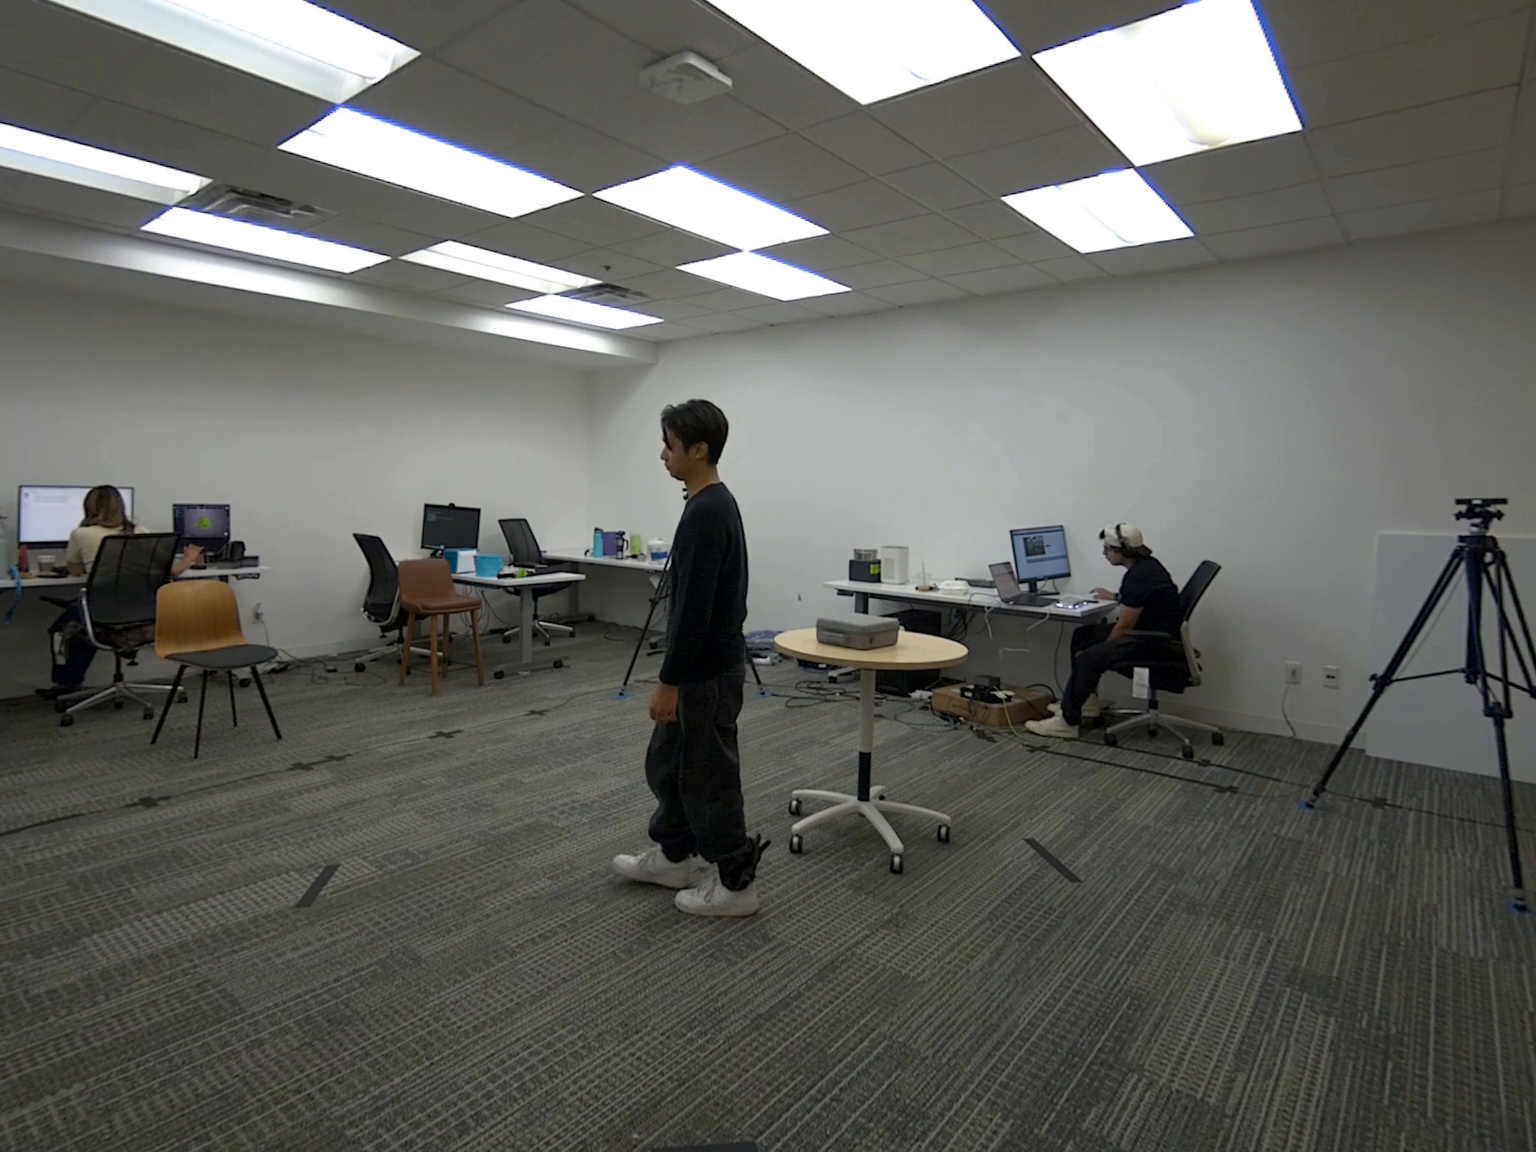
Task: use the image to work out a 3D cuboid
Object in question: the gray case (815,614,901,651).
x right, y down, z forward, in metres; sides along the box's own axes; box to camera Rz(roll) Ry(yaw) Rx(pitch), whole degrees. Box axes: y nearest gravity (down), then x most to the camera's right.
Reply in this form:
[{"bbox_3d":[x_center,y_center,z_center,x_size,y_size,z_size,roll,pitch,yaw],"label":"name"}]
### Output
[{"bbox_3d":[0.350,0.213,3.414,0.253,0.104,0.266,-5,9,-45],"label":"gray case"}]
